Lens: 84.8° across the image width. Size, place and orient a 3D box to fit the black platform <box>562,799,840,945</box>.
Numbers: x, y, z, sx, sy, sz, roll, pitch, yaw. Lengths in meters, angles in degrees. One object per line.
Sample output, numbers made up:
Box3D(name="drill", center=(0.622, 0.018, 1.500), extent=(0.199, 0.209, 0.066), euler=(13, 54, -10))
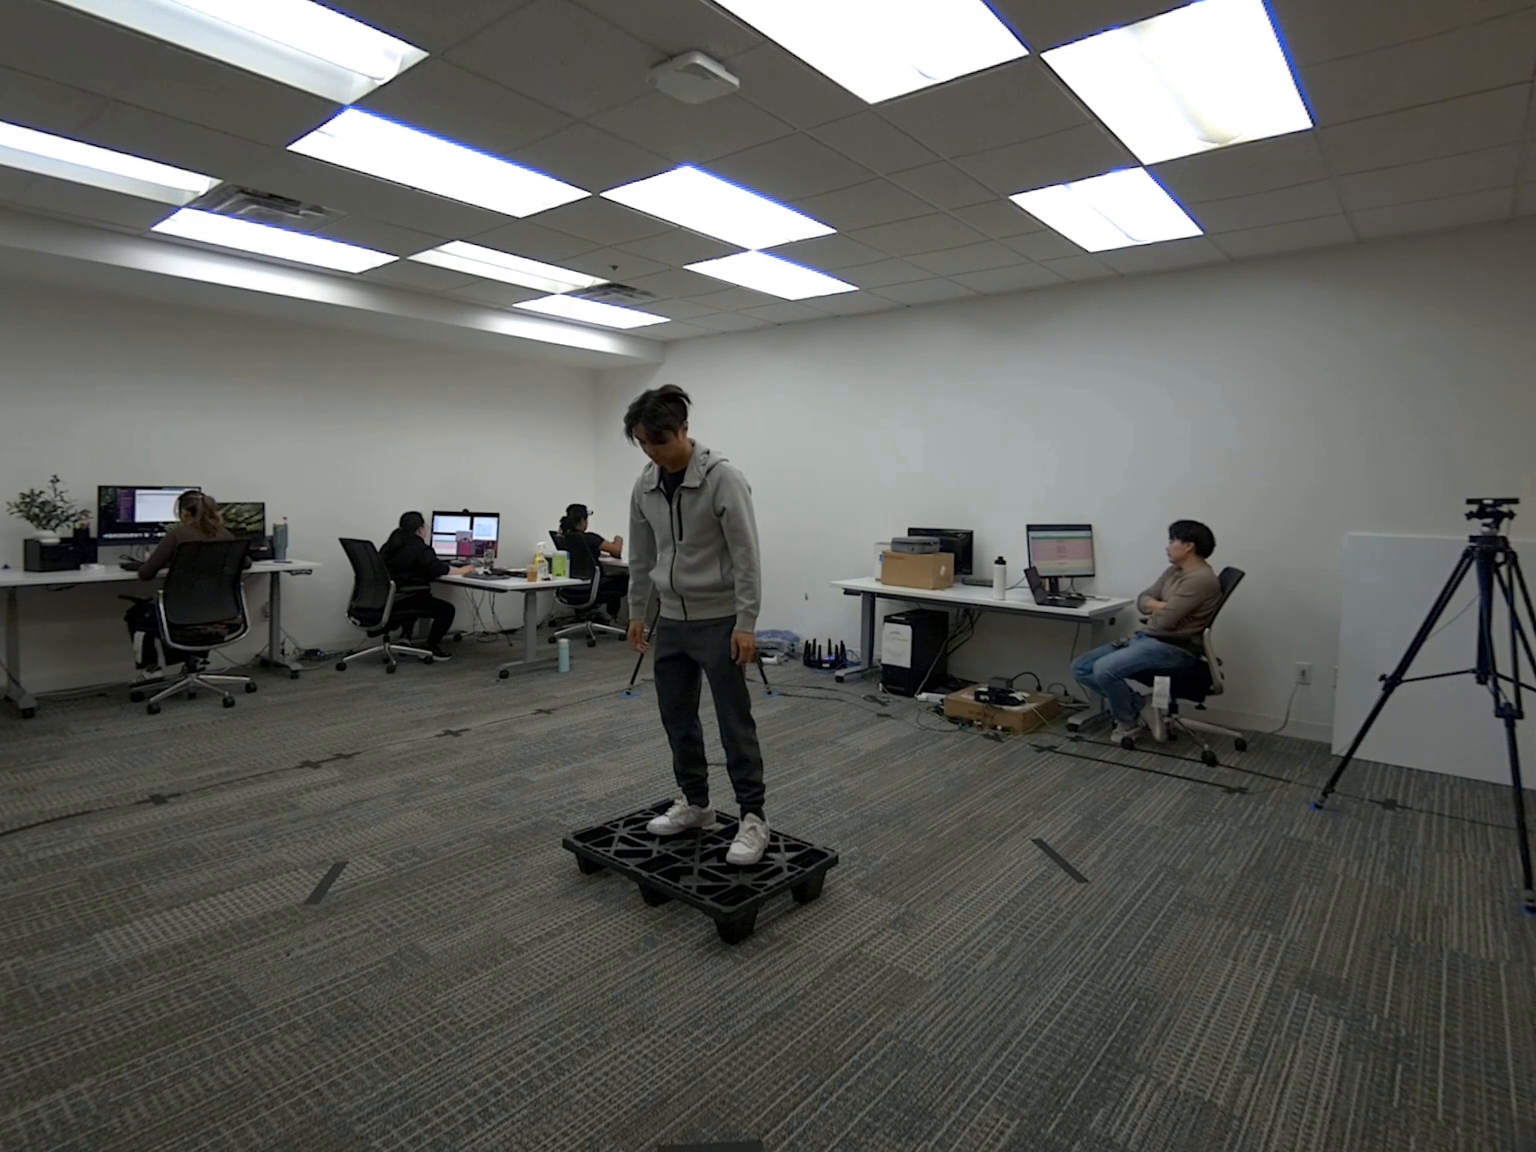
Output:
Box3D(name="black platform", center=(-0.255, 1.007, 3.001), extent=(0.833, 0.143, 0.587), euler=(6, 7, 40))
